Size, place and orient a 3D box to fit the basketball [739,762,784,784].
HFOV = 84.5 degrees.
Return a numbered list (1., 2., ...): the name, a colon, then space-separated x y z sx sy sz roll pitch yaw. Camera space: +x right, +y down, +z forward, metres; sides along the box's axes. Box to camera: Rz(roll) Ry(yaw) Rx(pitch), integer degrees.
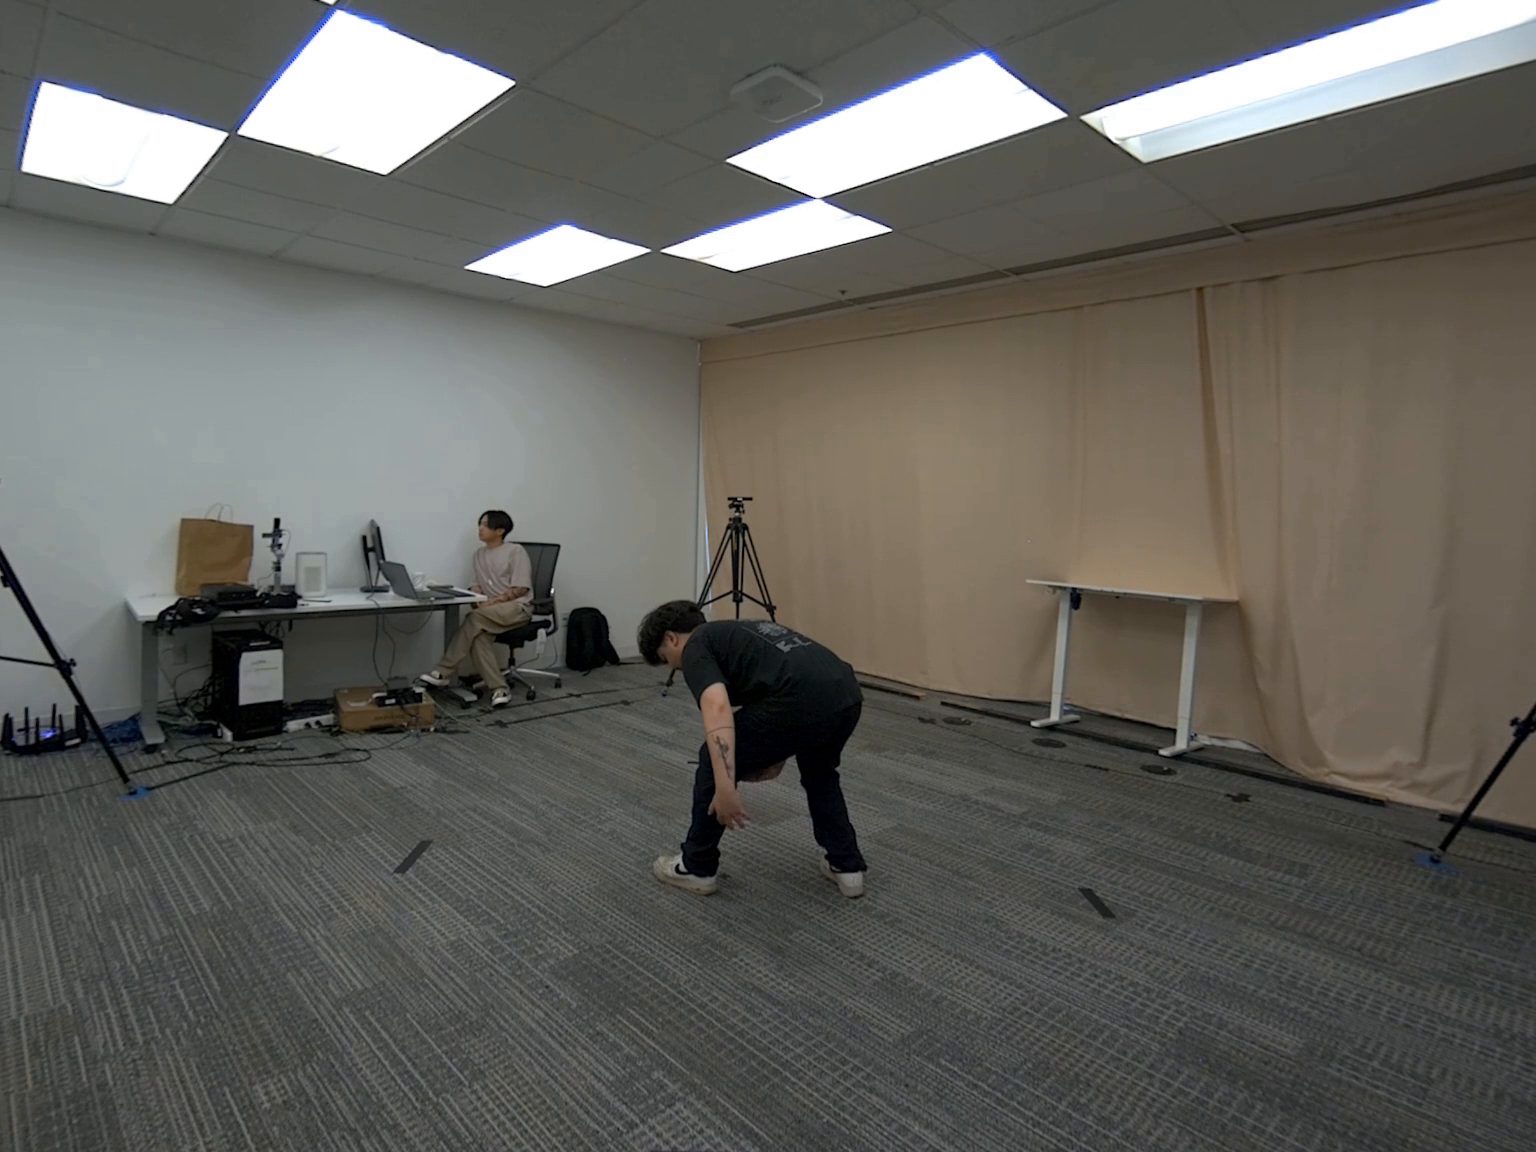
1. basketball: -0.077 0.656 3.227 0.236 0.235 0.237 1 4 -1
